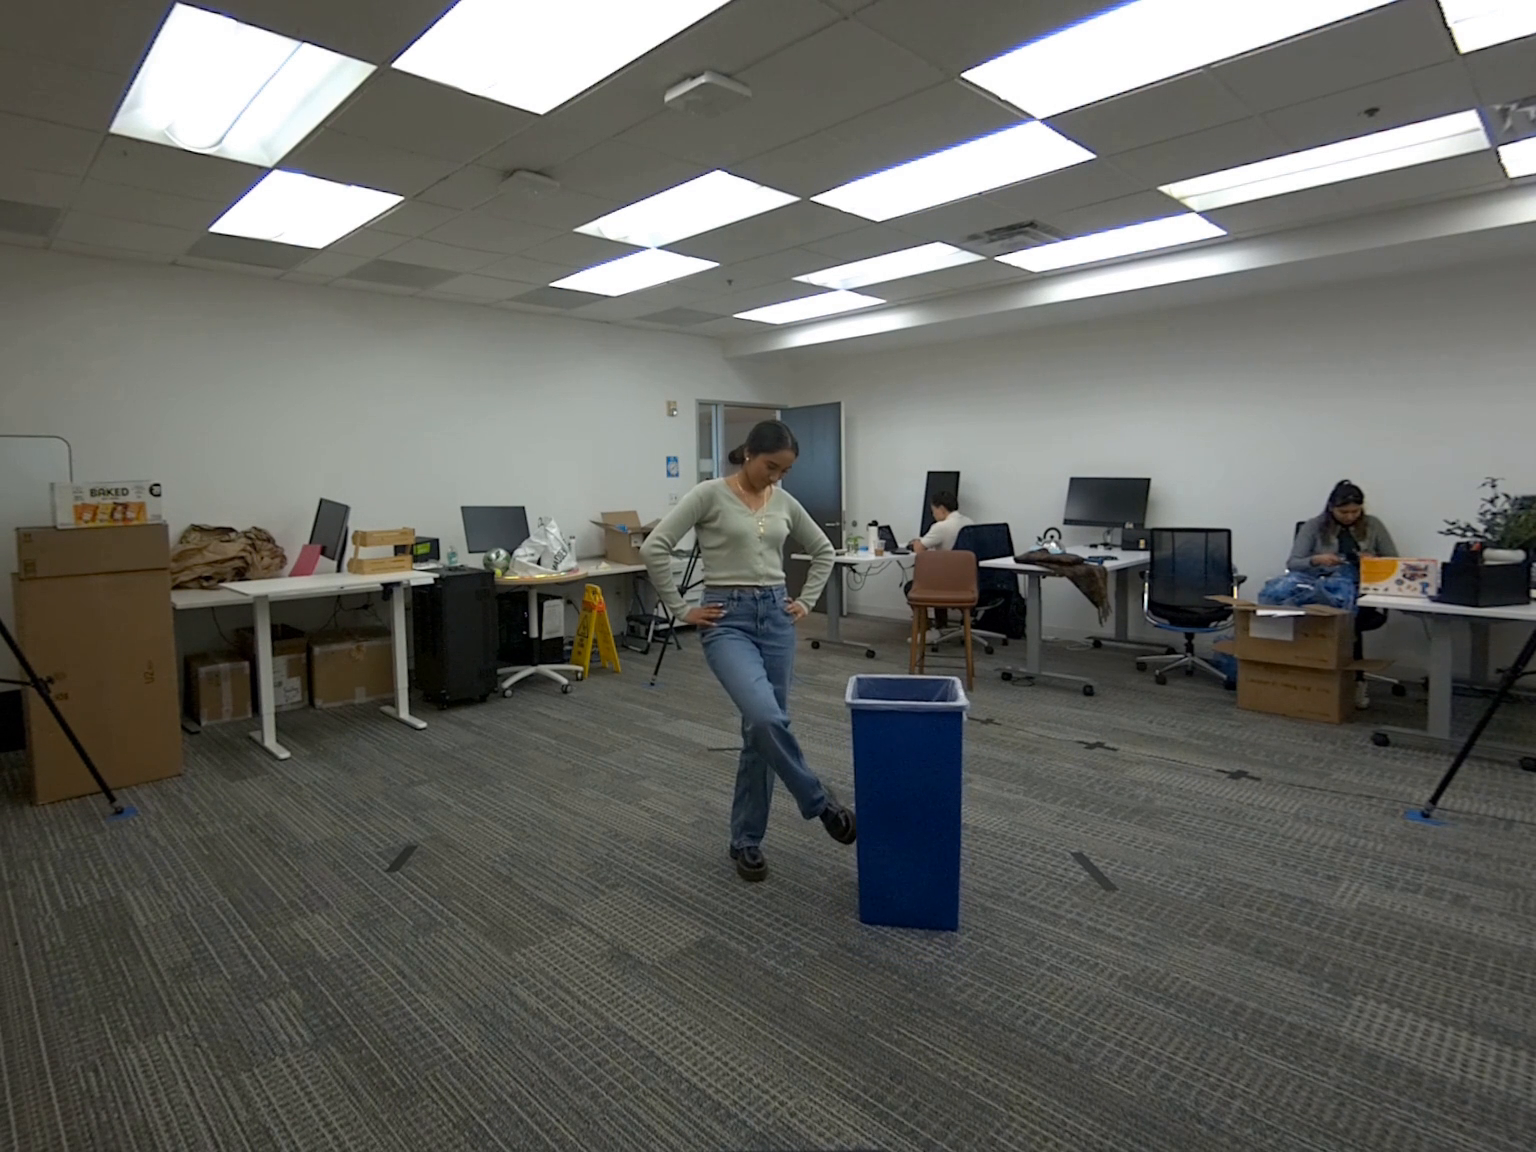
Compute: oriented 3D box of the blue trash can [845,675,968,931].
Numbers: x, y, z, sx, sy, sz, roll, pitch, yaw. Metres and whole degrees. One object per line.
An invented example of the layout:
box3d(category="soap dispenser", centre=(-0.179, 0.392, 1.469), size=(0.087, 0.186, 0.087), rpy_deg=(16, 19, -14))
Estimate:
box3d(category="blue trash can", centre=(0.456, 0.721, 2.770), size=(0.381, 0.711, 0.372), rpy_deg=(0, 5, 8))
